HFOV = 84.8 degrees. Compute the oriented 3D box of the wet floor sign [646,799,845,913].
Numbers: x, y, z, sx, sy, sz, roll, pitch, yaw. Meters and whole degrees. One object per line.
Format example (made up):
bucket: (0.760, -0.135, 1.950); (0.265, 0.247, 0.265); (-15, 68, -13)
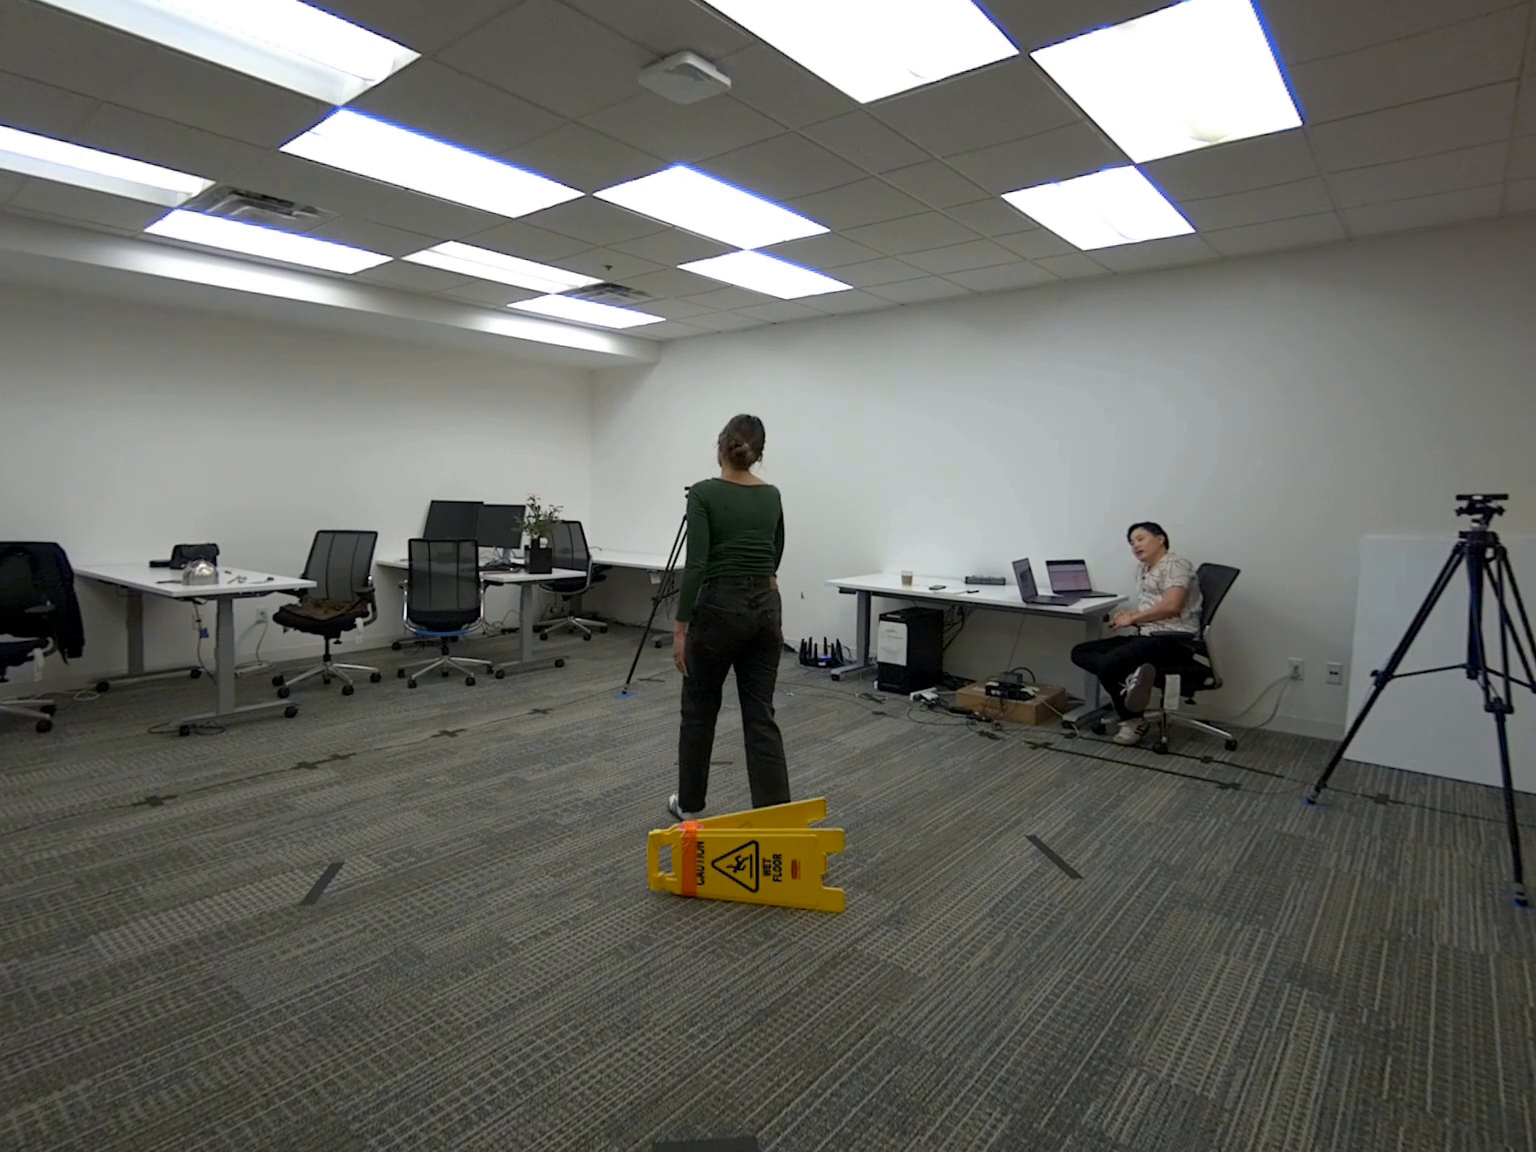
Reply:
wet floor sign: (-0.101, 0.953, 2.910); (0.642, 0.281, 0.292); (-2, 5, -6)
